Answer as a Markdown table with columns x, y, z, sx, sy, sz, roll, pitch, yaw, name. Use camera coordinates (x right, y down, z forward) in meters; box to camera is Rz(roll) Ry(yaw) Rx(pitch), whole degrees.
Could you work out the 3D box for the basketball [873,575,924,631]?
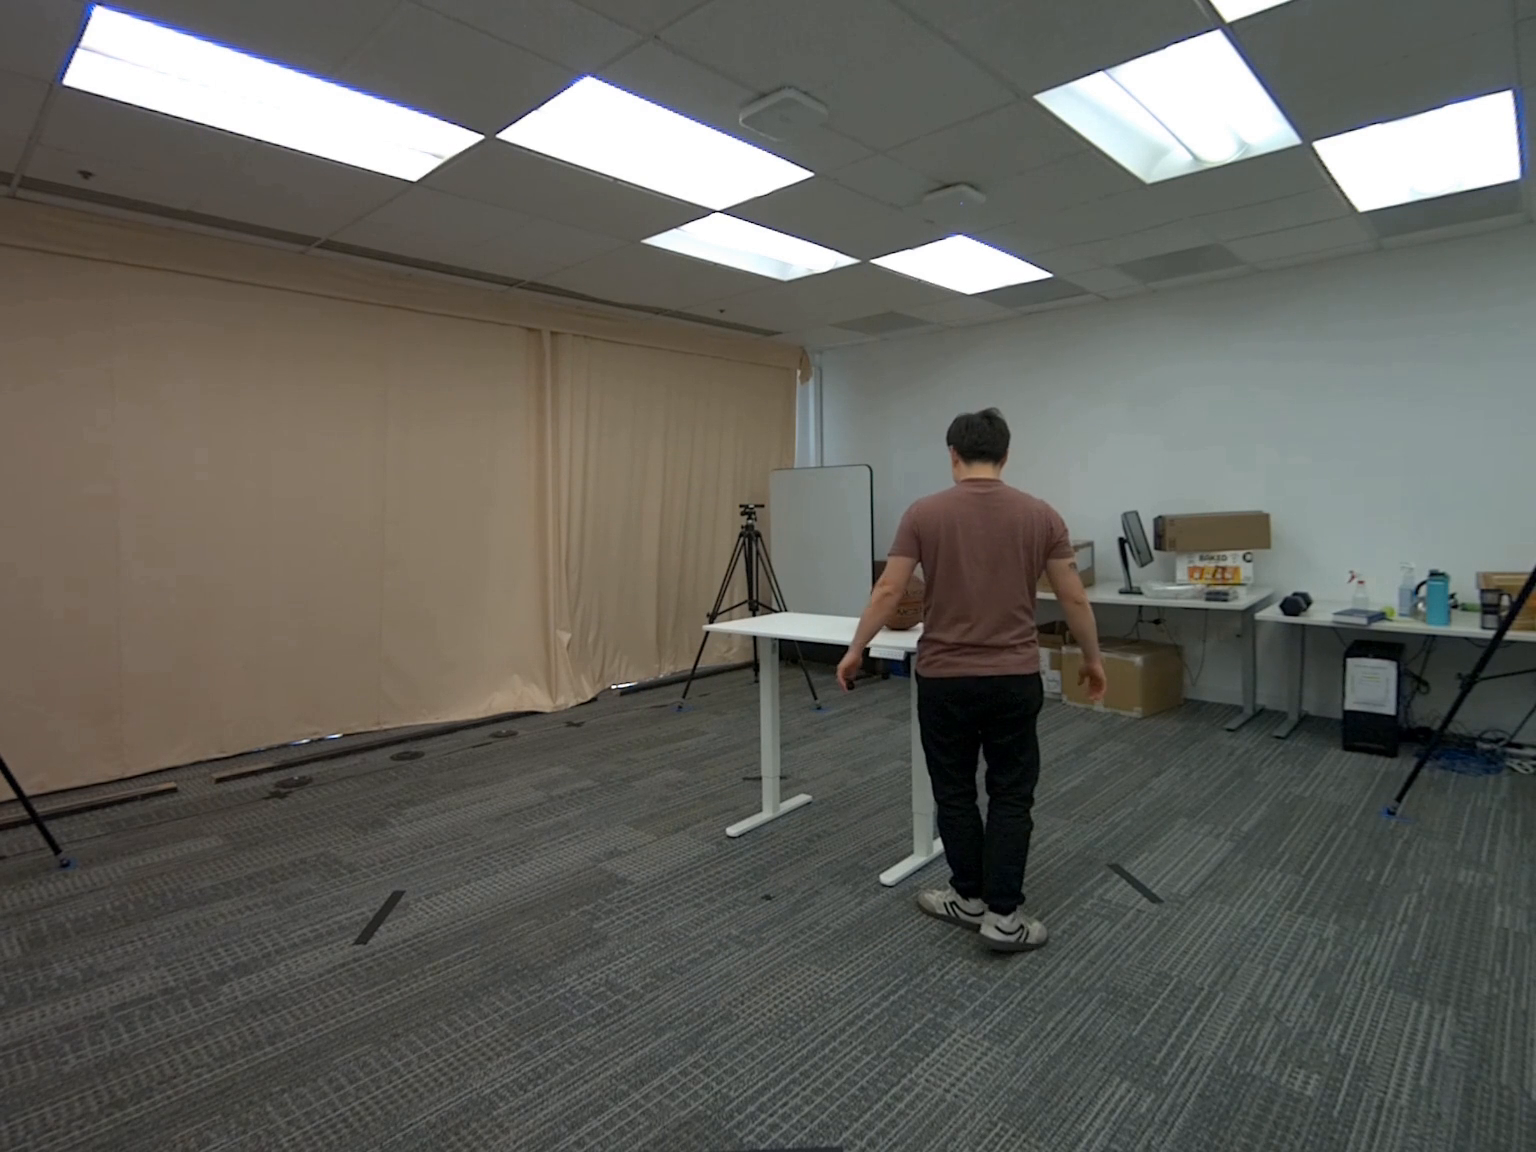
| x | y | z | sx | sy | sz | roll | pitch | yaw | name |
| --- | --- | --- | --- | --- | --- | --- | --- | --- | --- |
| 0.534 | 0.100 | 3.382 | 0.236 | 0.235 | 0.237 | -1 | 4 | -2 | basketball |
